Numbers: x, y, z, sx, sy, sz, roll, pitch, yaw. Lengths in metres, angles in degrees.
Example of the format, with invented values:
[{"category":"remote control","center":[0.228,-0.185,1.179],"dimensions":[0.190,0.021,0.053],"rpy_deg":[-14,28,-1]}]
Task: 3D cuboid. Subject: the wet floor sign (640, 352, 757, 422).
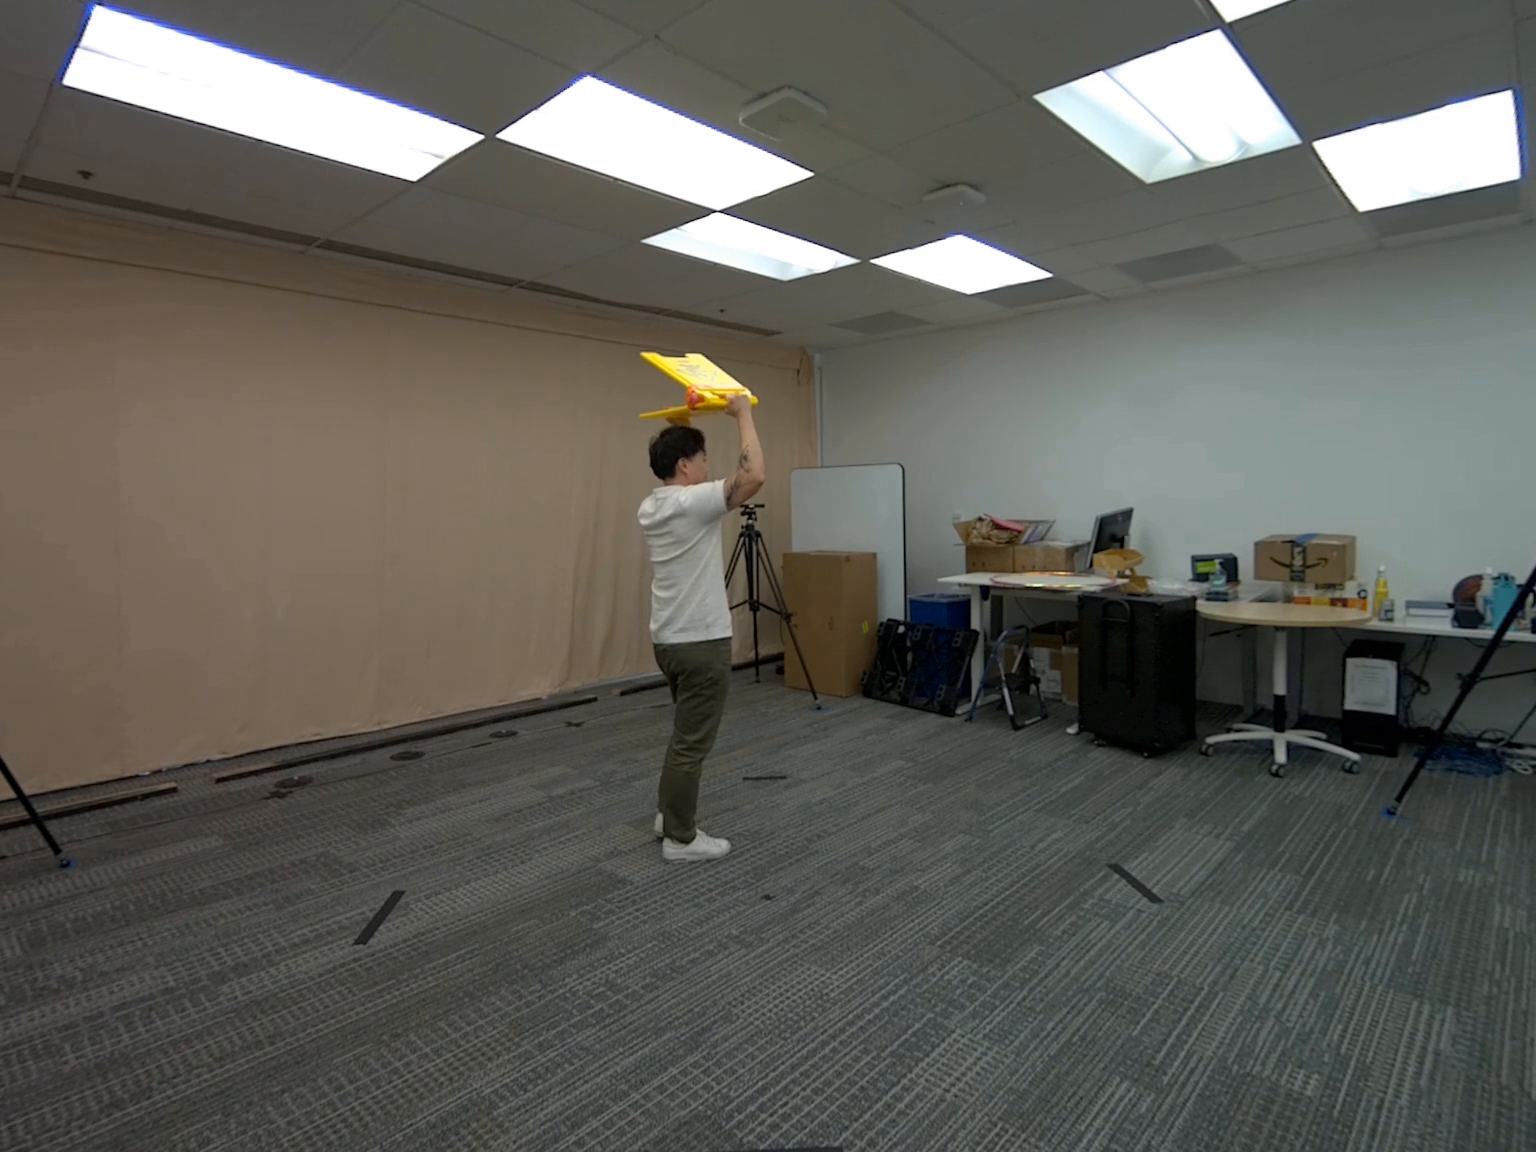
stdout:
[{"category":"wet floor sign","center":[-0.264,-0.718,3.329],"dimensions":[0.276,0.287,0.667],"rpy_deg":[-5,19,-26]}]
